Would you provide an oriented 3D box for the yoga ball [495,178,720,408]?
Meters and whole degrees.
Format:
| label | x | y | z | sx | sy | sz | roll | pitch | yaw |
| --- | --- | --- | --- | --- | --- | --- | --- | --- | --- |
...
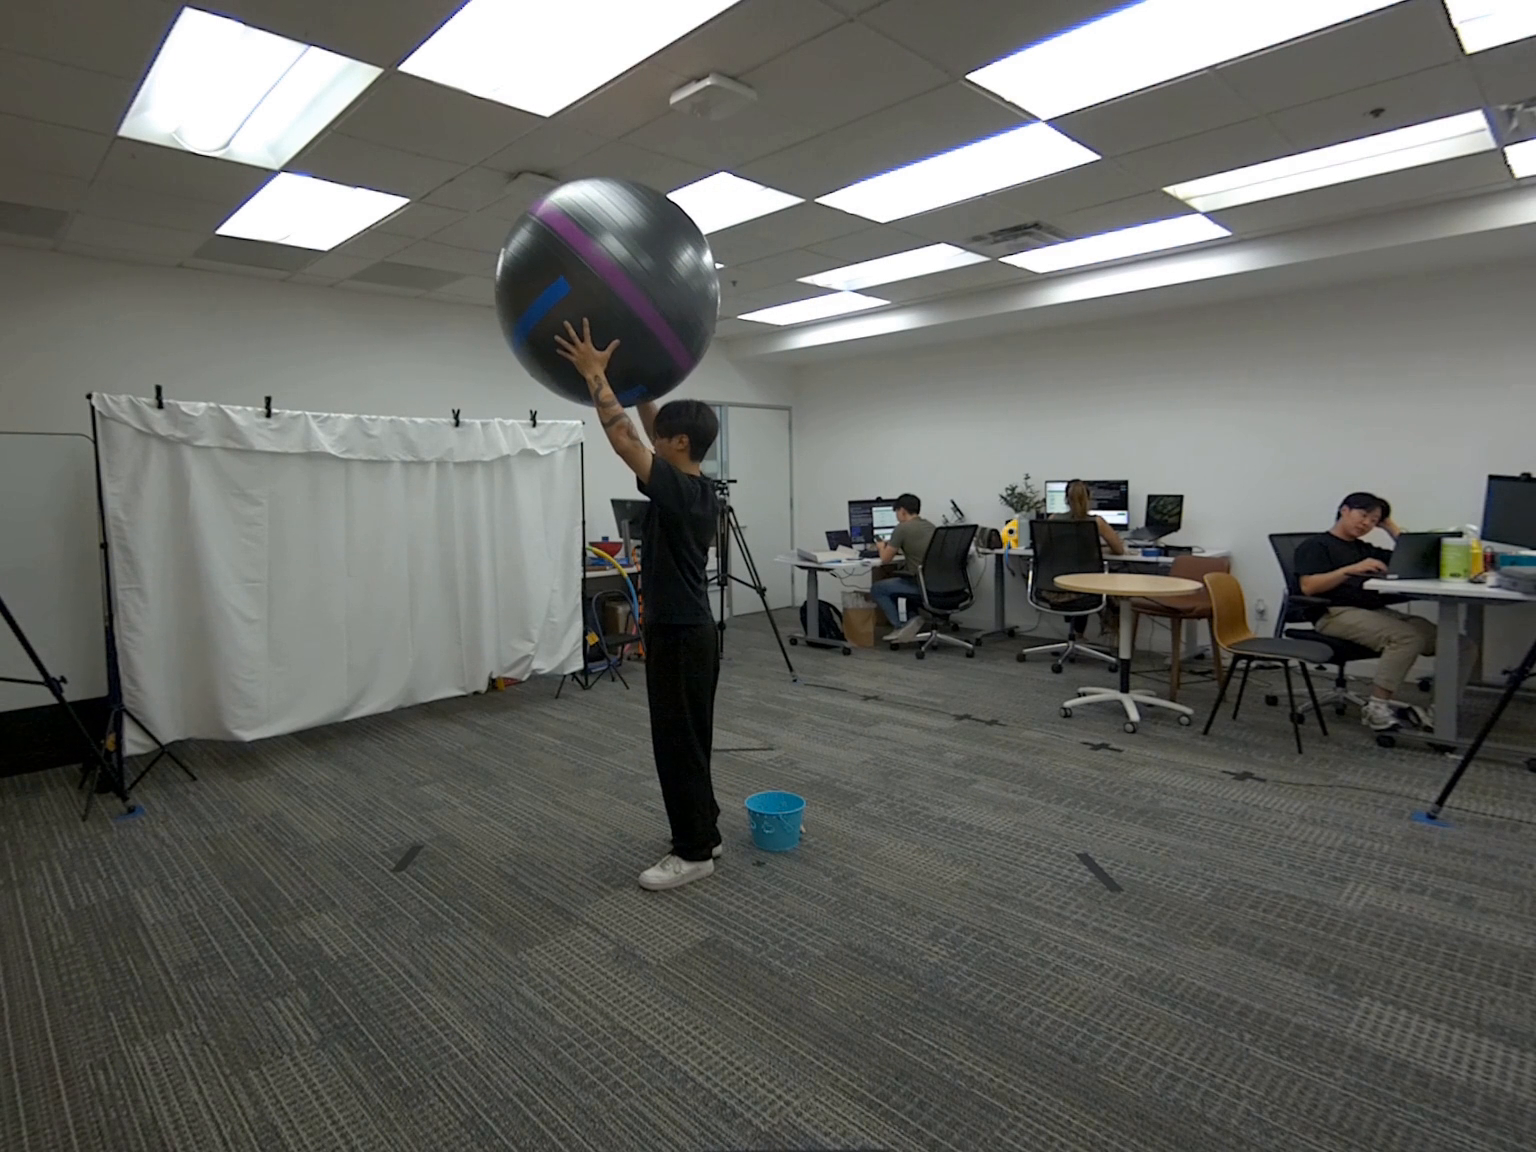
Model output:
| label | x | y | z | sx | sy | sz | roll | pitch | yaw |
| --- | --- | --- | --- | --- | --- | --- | --- | --- | --- |
| yoga ball | -0.547 | -0.957 | 2.935 | 0.757 | 0.755 | 0.762 | -1 | 5 | -2 |
